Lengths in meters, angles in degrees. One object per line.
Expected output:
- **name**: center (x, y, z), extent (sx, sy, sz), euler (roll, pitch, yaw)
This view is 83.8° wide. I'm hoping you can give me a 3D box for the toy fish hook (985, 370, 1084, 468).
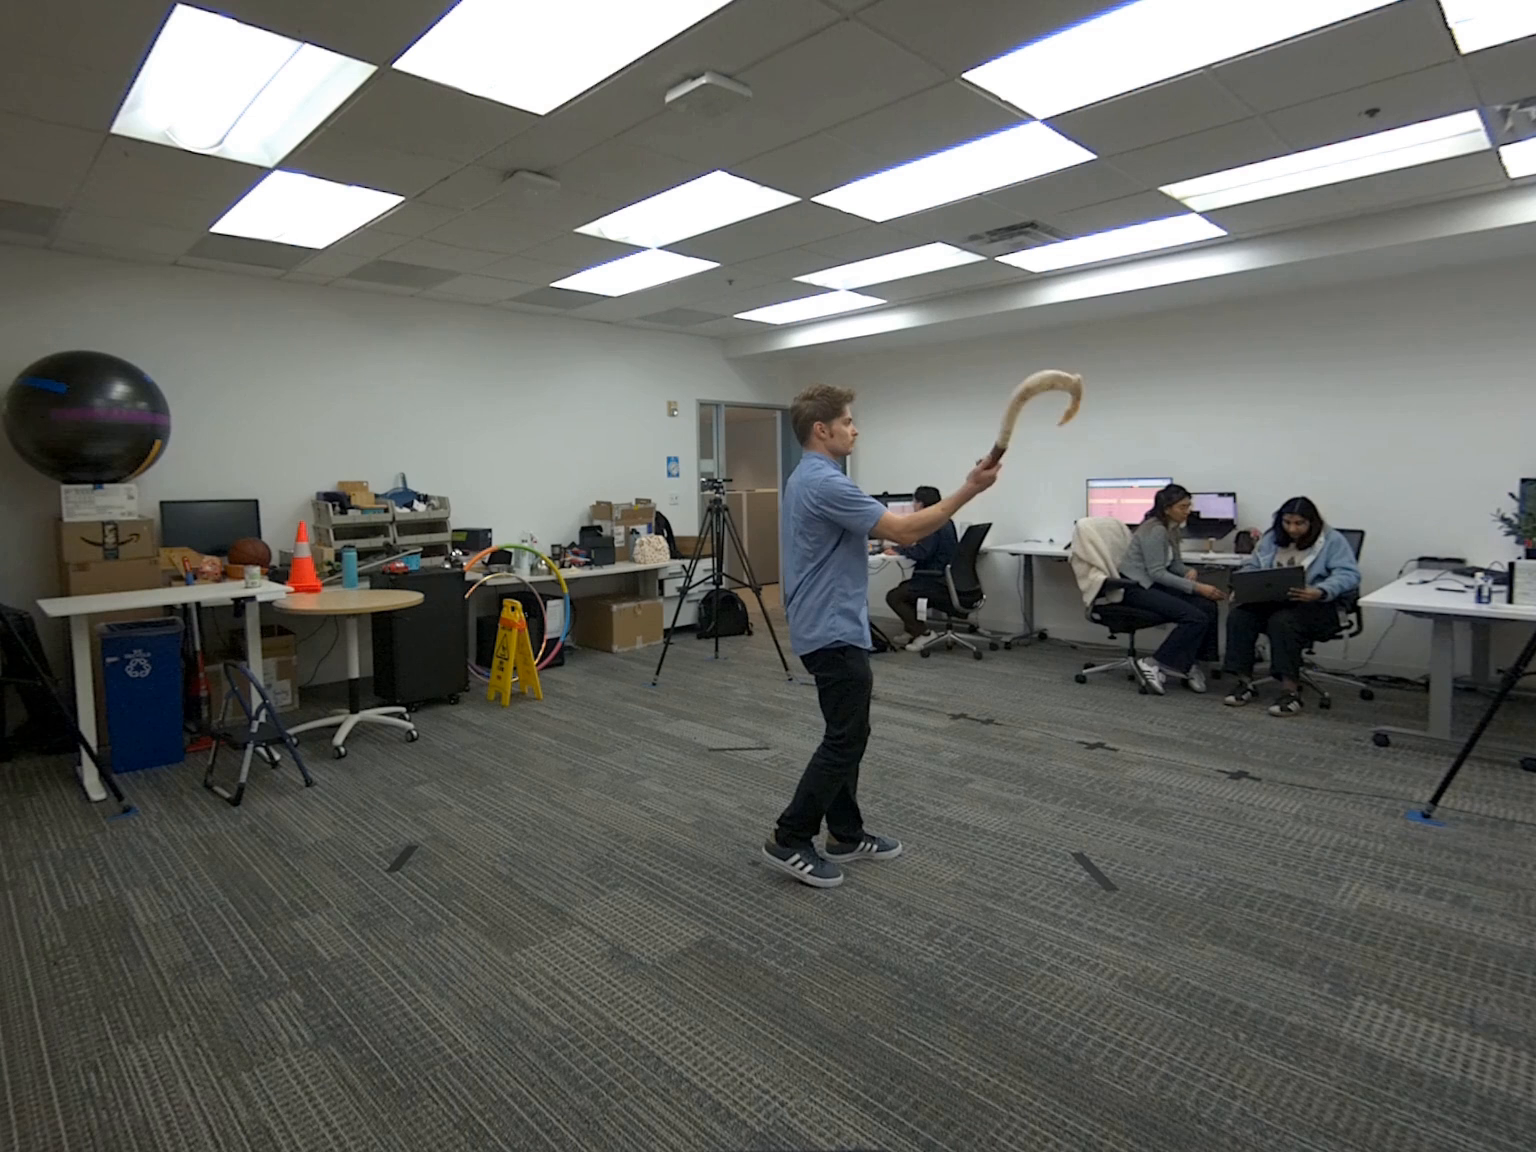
- **toy fish hook**: center (0.799, -0.420, 2.671), extent (0.222, 0.049, 0.499), euler (10, -39, -10)
